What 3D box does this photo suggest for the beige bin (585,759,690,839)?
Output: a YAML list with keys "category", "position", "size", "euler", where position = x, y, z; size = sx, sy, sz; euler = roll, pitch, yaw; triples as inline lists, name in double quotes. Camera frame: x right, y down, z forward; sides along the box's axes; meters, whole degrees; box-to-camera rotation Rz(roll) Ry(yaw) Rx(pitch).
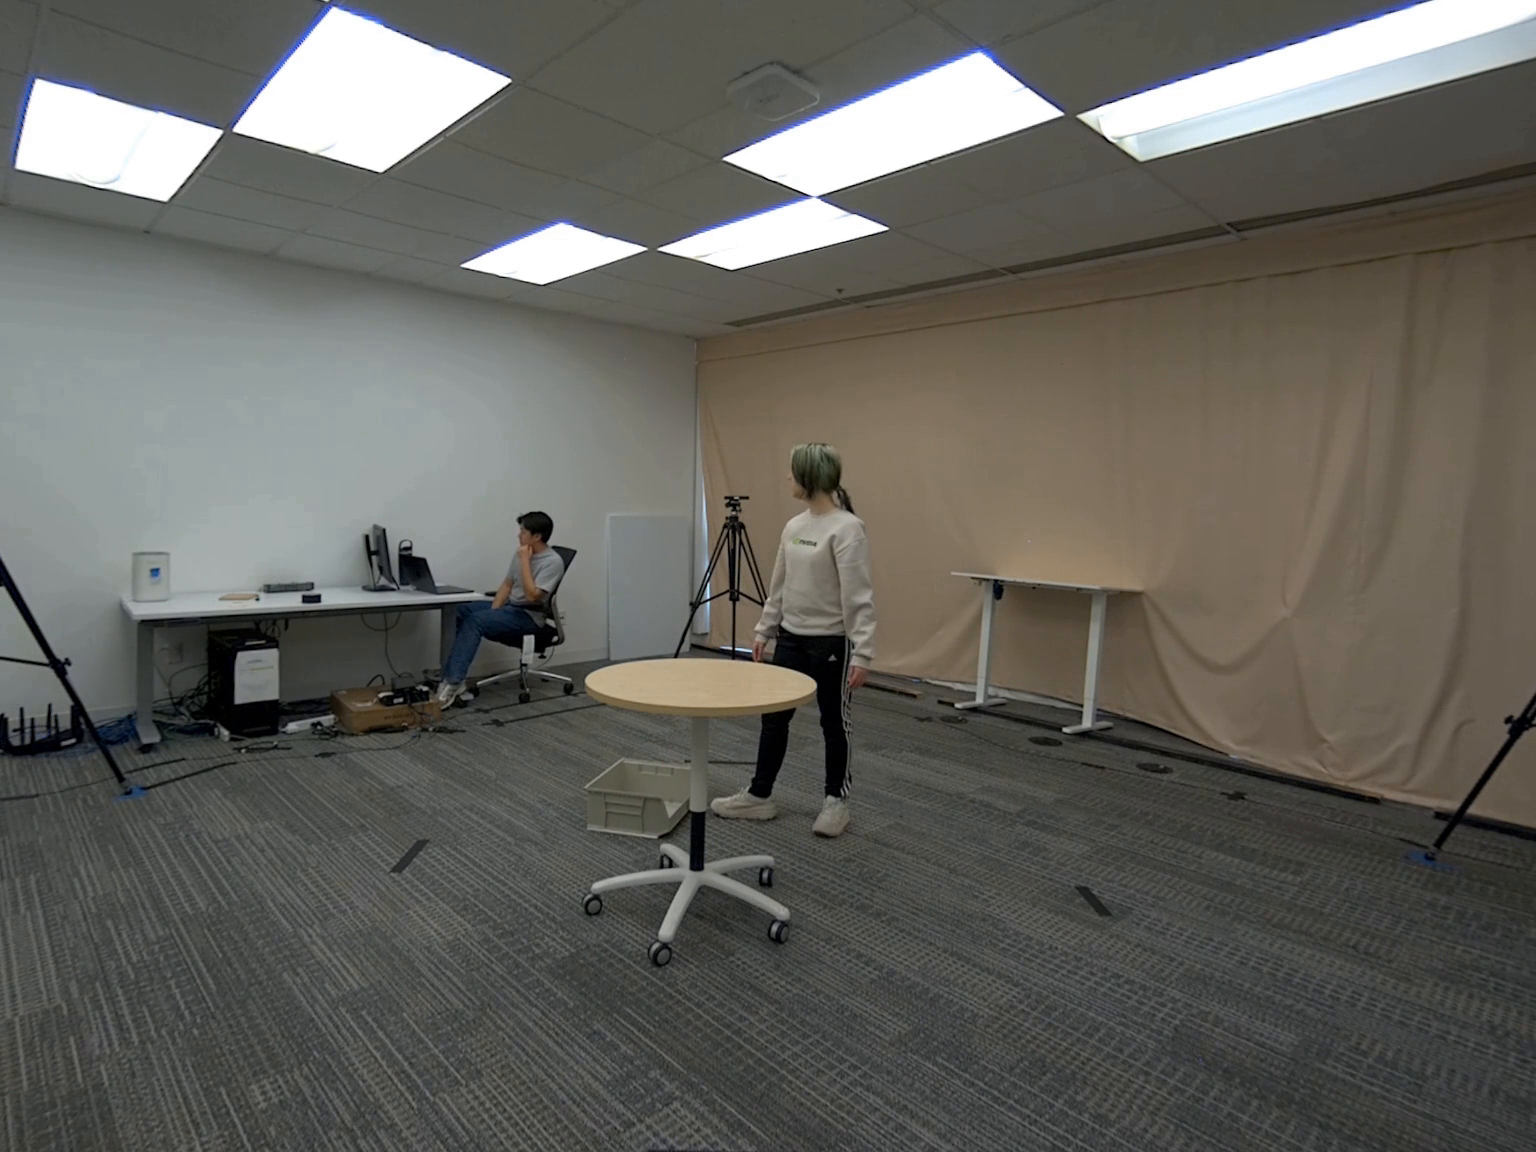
- category: "beige bin"
  position: [-0.551, 0.961, 3.644]
  size: [0.381, 0.188, 0.419]
  euler: [2, 5, 13]
